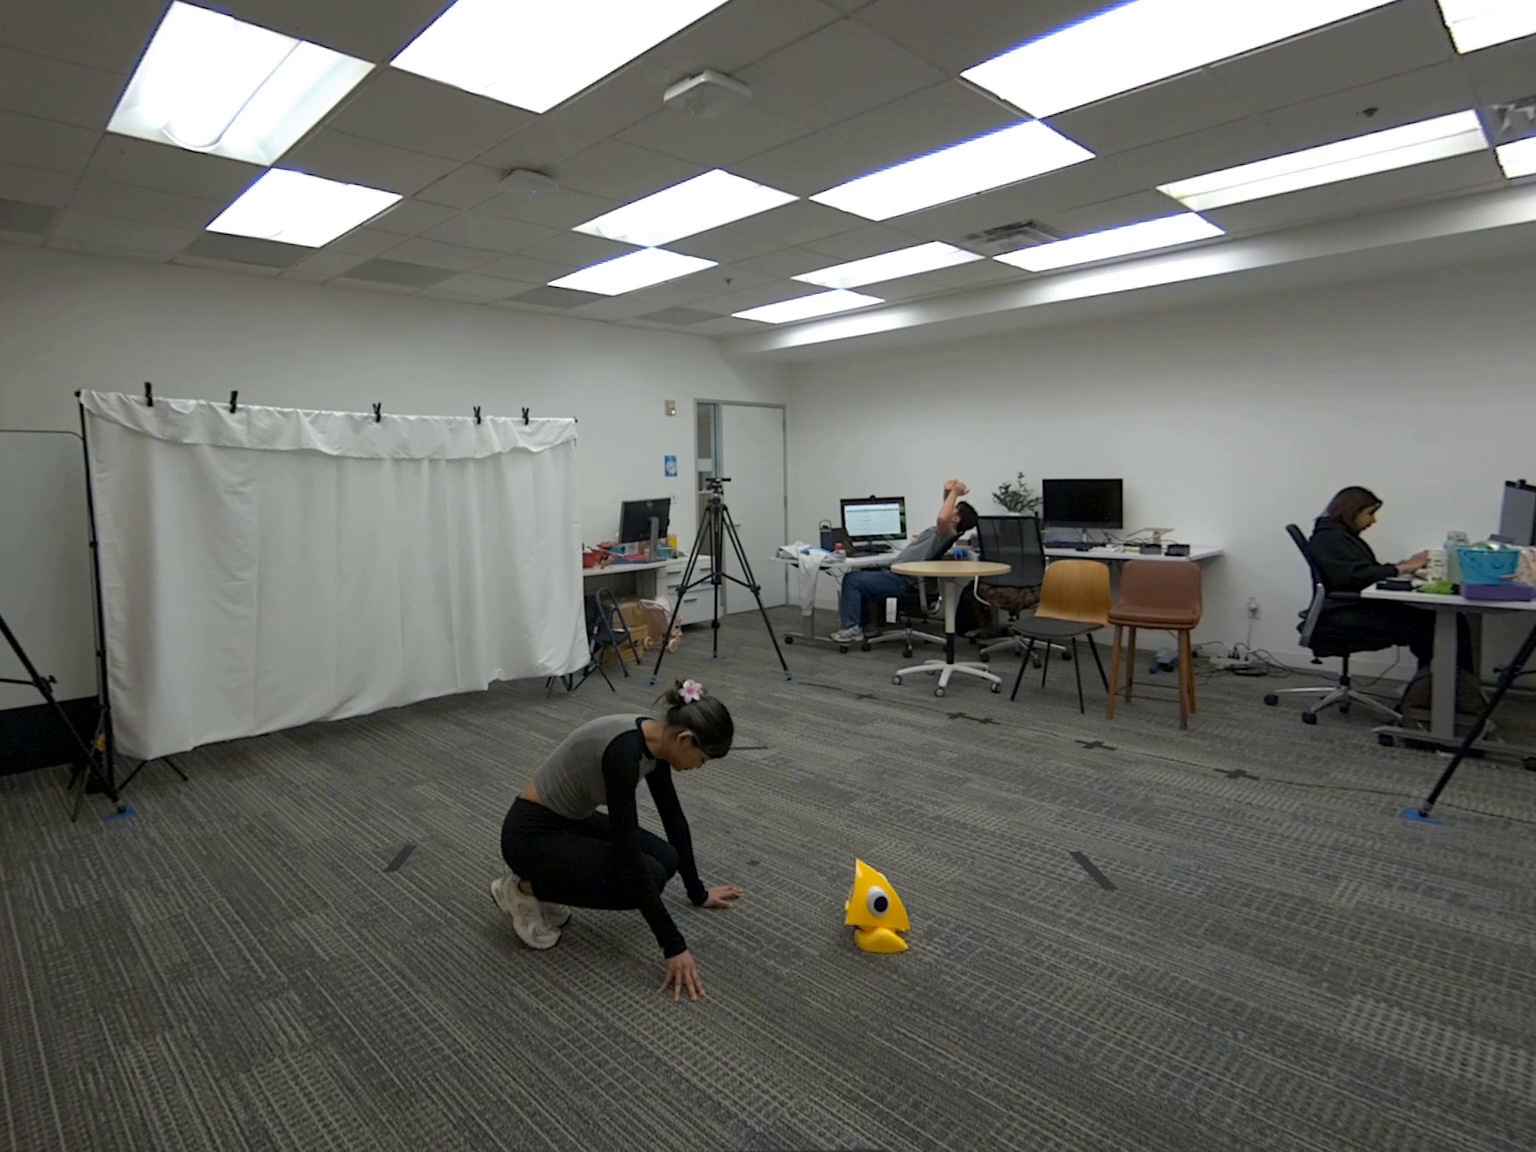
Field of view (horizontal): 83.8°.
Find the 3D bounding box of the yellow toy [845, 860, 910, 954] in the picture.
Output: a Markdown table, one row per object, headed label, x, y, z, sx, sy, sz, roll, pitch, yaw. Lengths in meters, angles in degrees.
| label | x | y | z | sx | sy | sz | roll | pitch | yaw |
| --- | --- | --- | --- | --- | --- | --- | --- | --- | --- |
| yellow toy | 0.333 | 0.976 | 2.596 | 0.195 | 0.230 | 0.203 | -1 | 4 | 10 |
